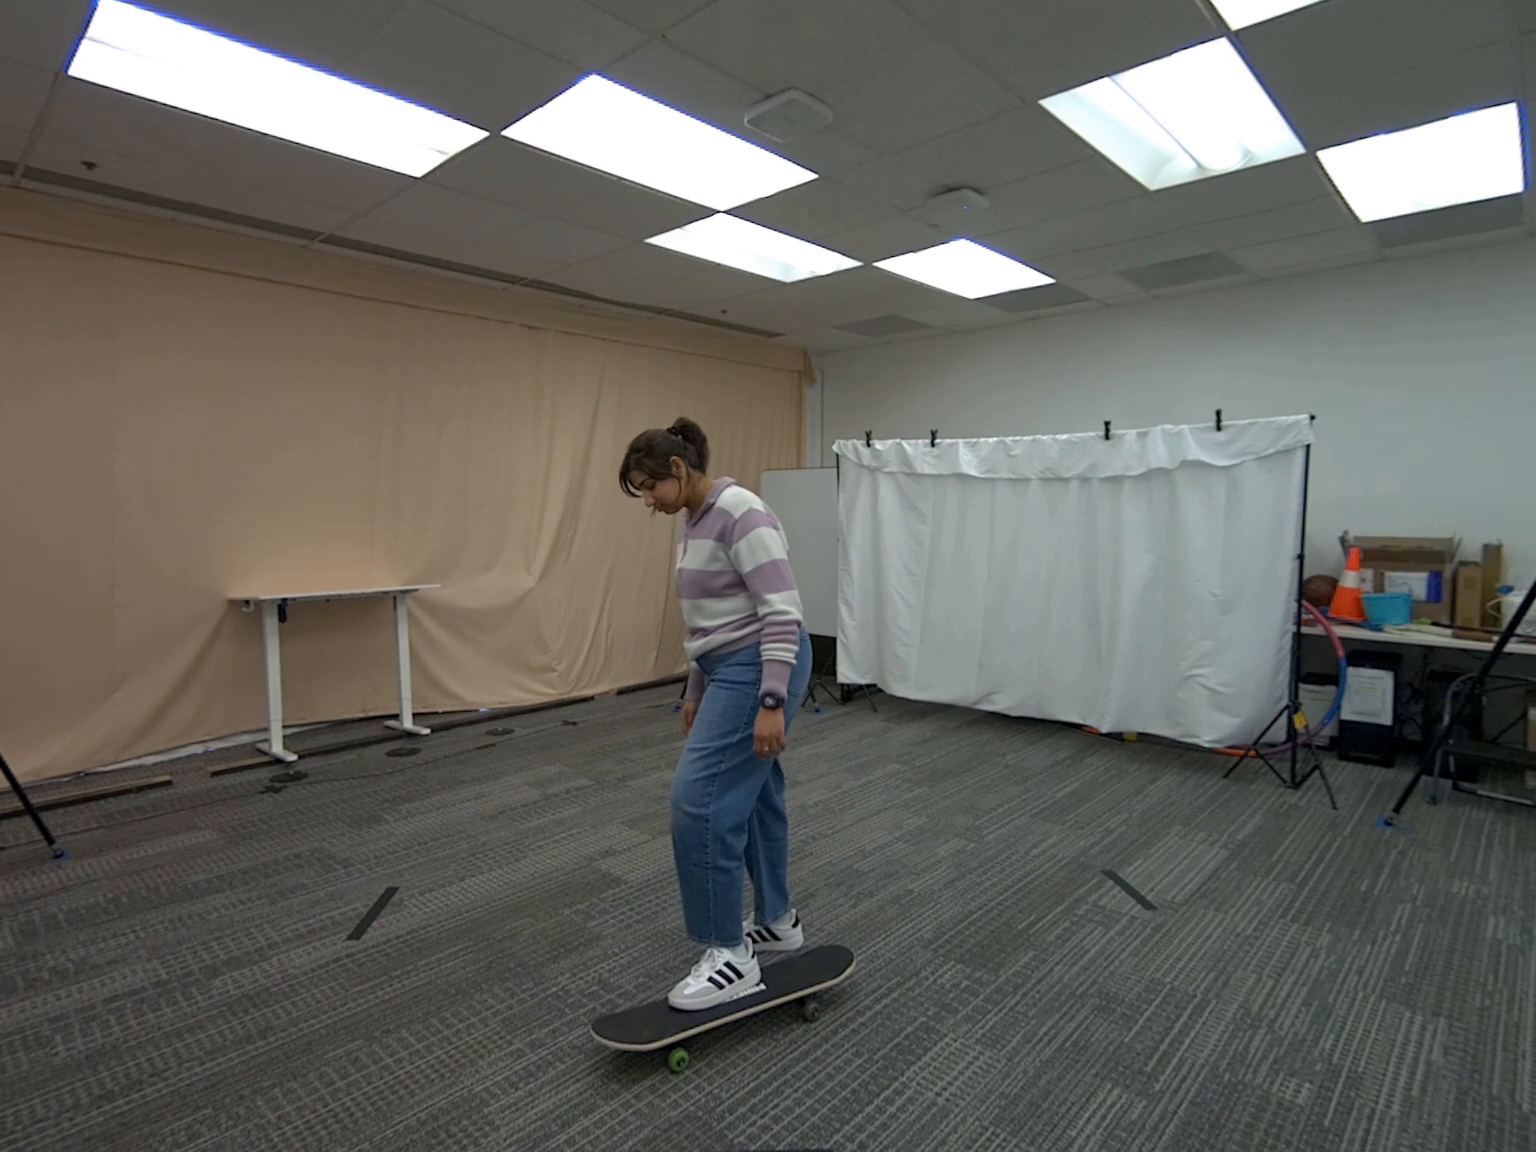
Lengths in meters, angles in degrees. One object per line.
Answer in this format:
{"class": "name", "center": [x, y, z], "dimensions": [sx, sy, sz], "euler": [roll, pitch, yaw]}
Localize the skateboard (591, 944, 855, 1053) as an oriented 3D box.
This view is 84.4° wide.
{"class": "skateboard", "center": [-0.095, 1.152, 2.245], "dimensions": [0.765, 0.110, 0.198], "euler": [-3, 0, -30]}
